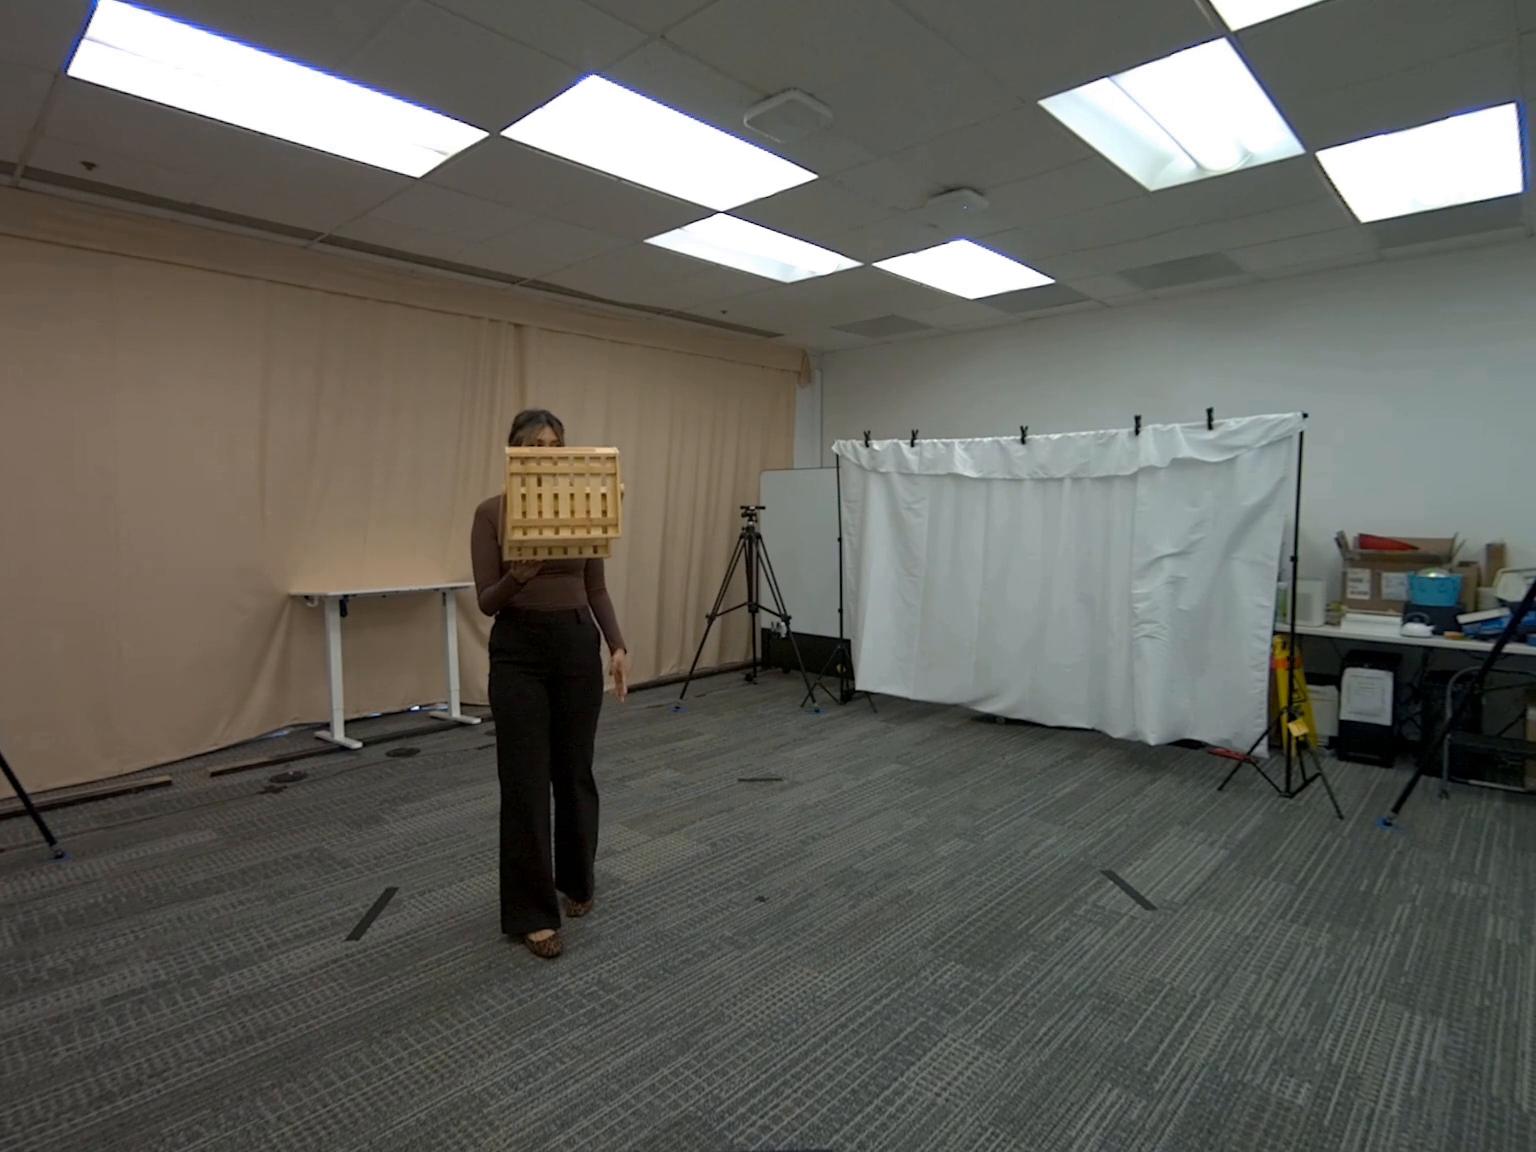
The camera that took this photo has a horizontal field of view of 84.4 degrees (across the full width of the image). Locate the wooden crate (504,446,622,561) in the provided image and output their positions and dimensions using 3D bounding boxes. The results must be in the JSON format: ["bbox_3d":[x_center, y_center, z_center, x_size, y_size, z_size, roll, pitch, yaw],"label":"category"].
[{"bbox_3d":[-0.587,-0.198,2.368,0.319,0.302,0.278,-2,0,-17],"label":"wooden crate"}]
